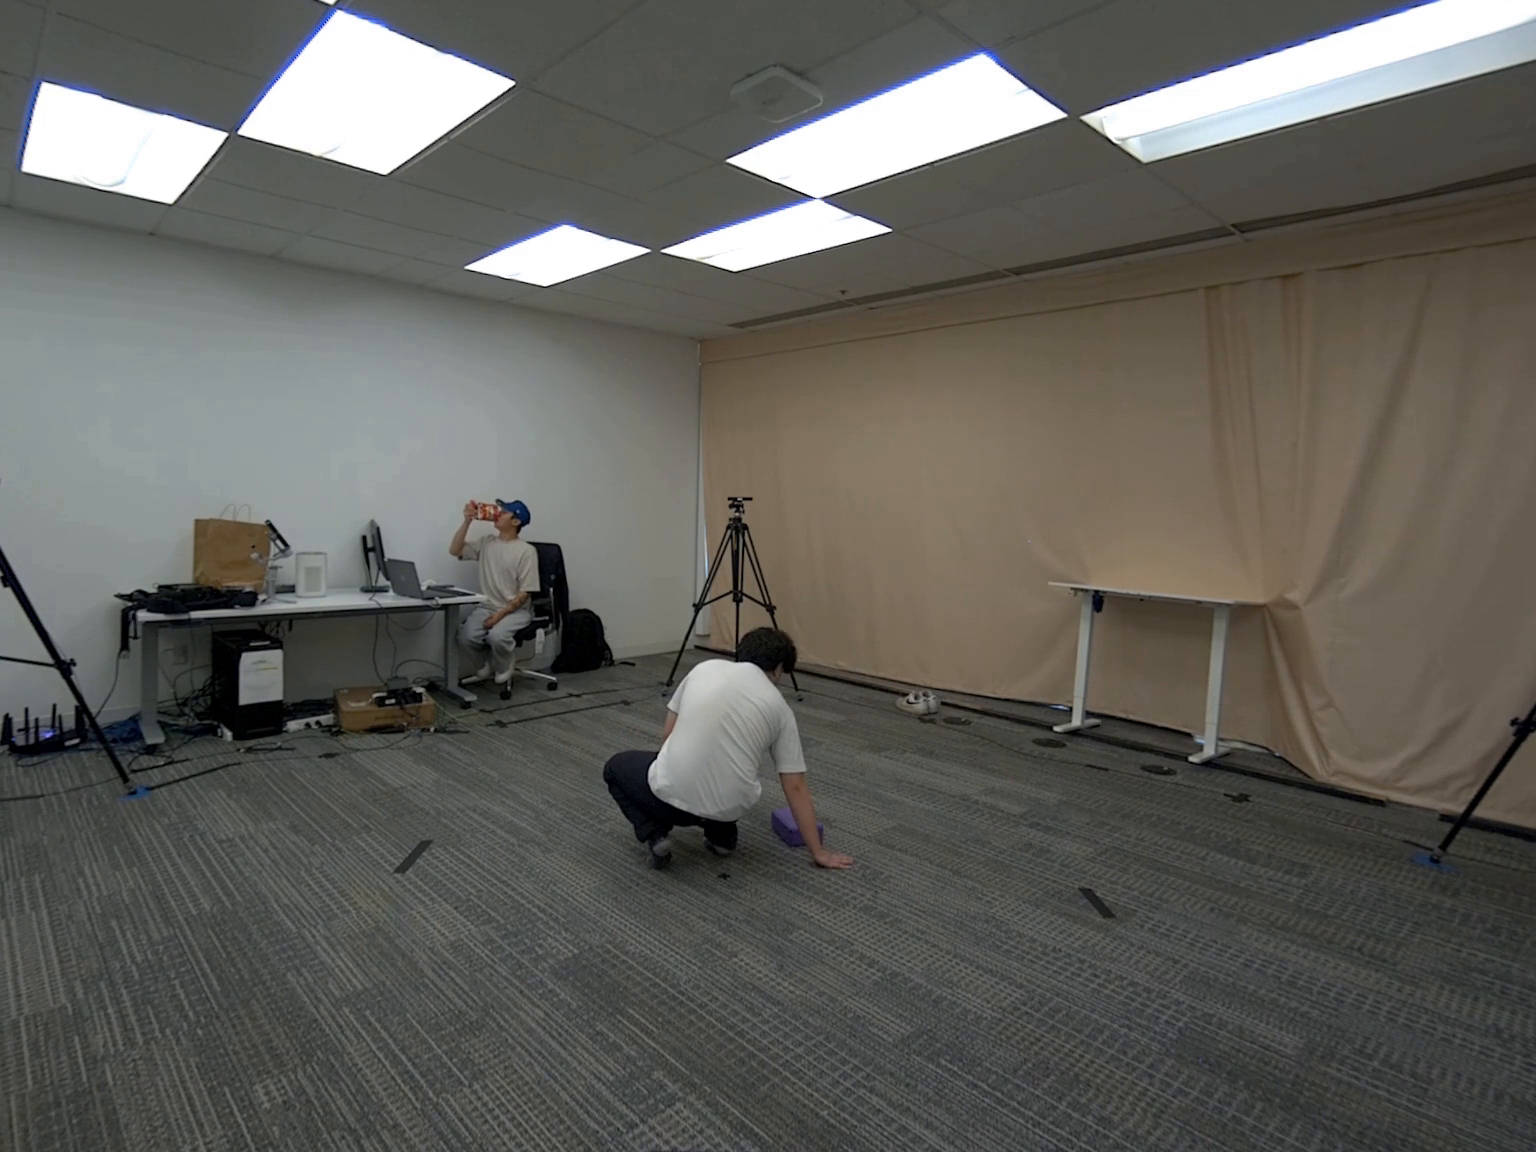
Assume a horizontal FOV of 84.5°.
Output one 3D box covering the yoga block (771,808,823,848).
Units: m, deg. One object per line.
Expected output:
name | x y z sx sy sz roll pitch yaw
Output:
yoga block | 0.108 1.037 3.501 0.147 0.076 0.233 -1 4 -18
